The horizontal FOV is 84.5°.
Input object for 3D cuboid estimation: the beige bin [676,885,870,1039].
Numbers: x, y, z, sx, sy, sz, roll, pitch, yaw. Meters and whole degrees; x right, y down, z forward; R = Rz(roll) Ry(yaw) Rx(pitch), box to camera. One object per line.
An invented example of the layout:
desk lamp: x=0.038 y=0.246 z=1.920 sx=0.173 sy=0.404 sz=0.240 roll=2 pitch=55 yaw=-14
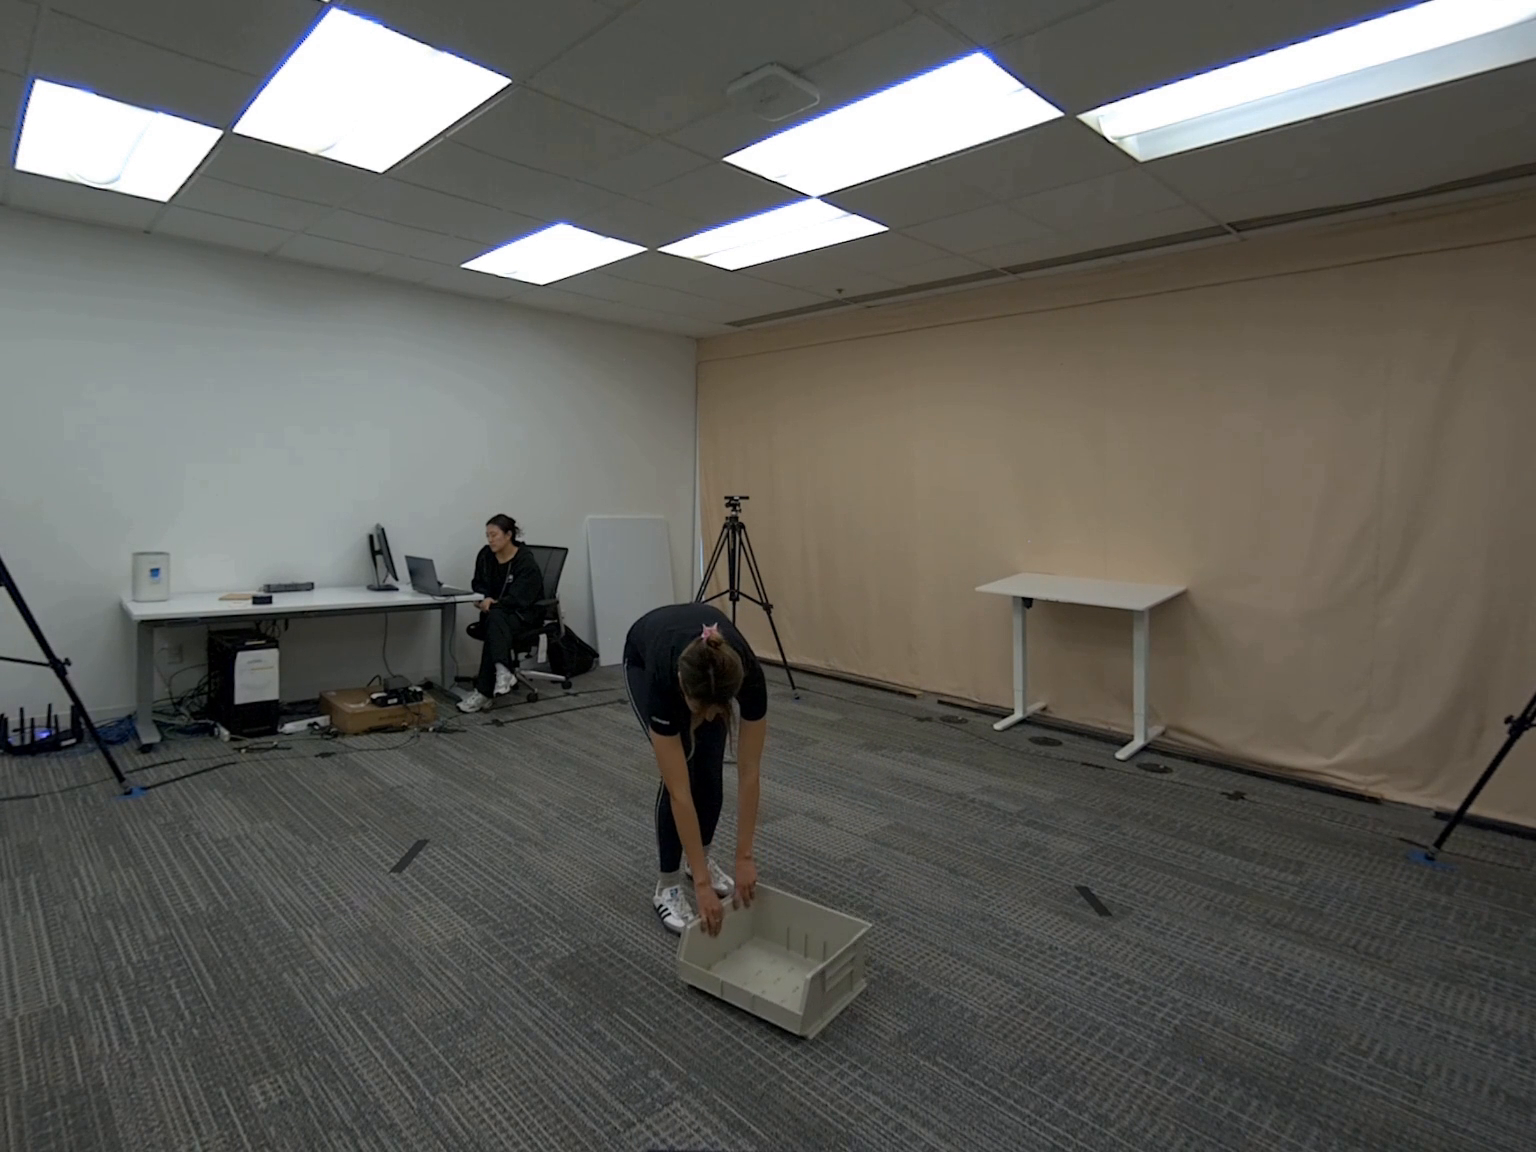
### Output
beige bin: x=0.012 y=1.086 z=2.389 sx=0.432 sy=0.188 sz=0.369 roll=5 pitch=5 yaw=35
